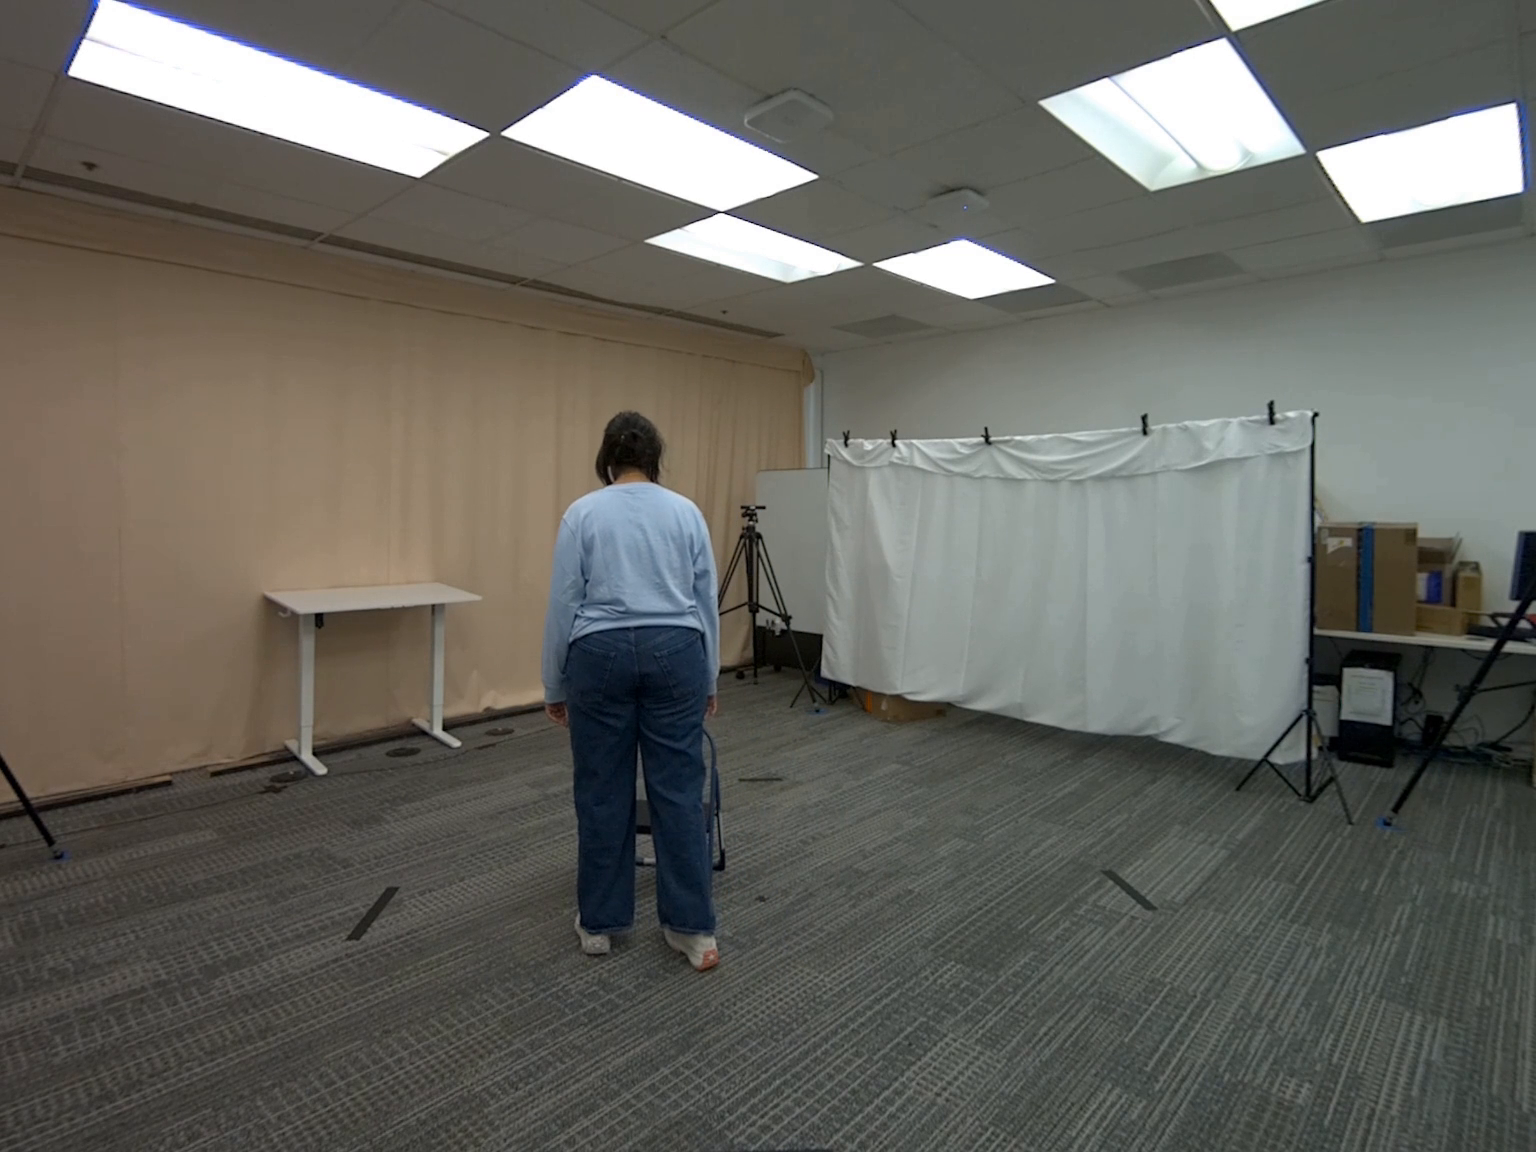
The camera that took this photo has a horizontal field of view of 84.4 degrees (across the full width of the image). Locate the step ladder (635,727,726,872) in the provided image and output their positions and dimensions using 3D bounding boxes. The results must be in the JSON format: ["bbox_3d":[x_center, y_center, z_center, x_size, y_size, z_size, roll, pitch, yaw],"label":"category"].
[{"bbox_3d":[-0.389,0.838,3.087,0.435,0.605,0.346,0,4,9],"label":"step ladder"}]
